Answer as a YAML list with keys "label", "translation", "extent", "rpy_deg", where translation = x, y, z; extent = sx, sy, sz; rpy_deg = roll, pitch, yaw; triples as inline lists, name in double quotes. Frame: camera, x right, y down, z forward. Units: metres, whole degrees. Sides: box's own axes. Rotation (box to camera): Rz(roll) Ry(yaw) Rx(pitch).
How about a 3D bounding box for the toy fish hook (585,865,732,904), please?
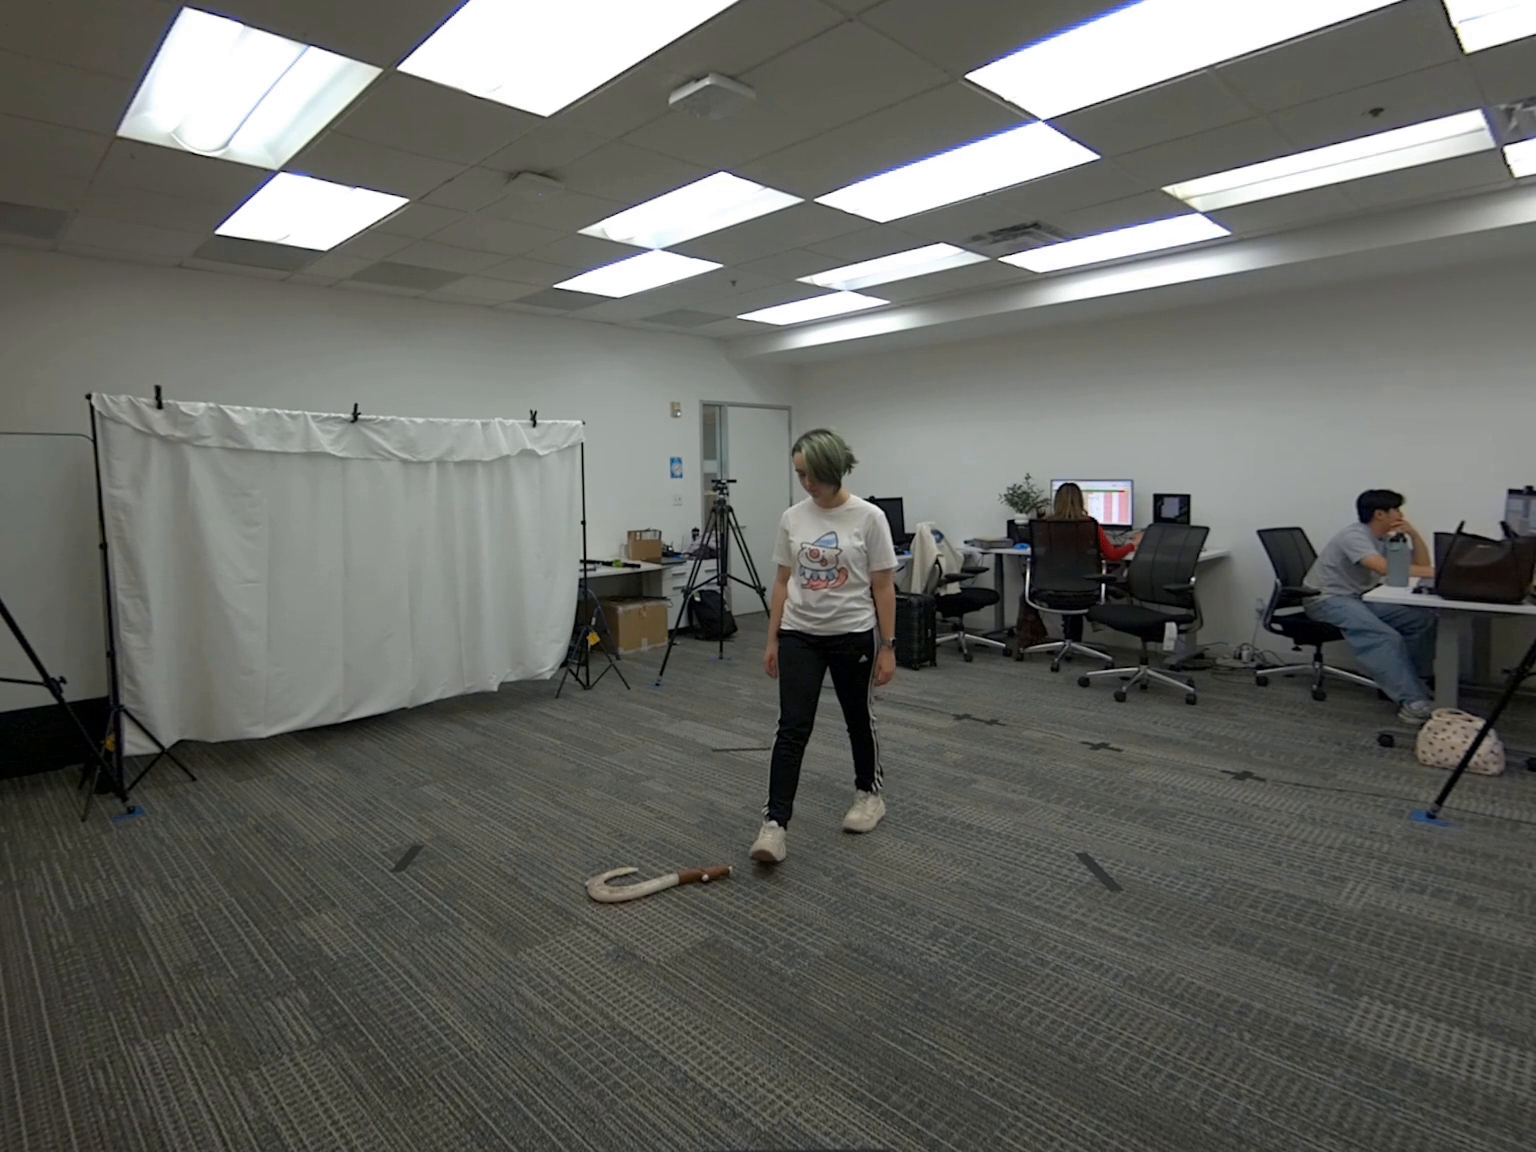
- label: "toy fish hook"
  translation: [-0.377, 1.044, 2.982]
  extent: [0.498, 0.048, 0.230]
  rpy_deg: [-3, 8, -19]
